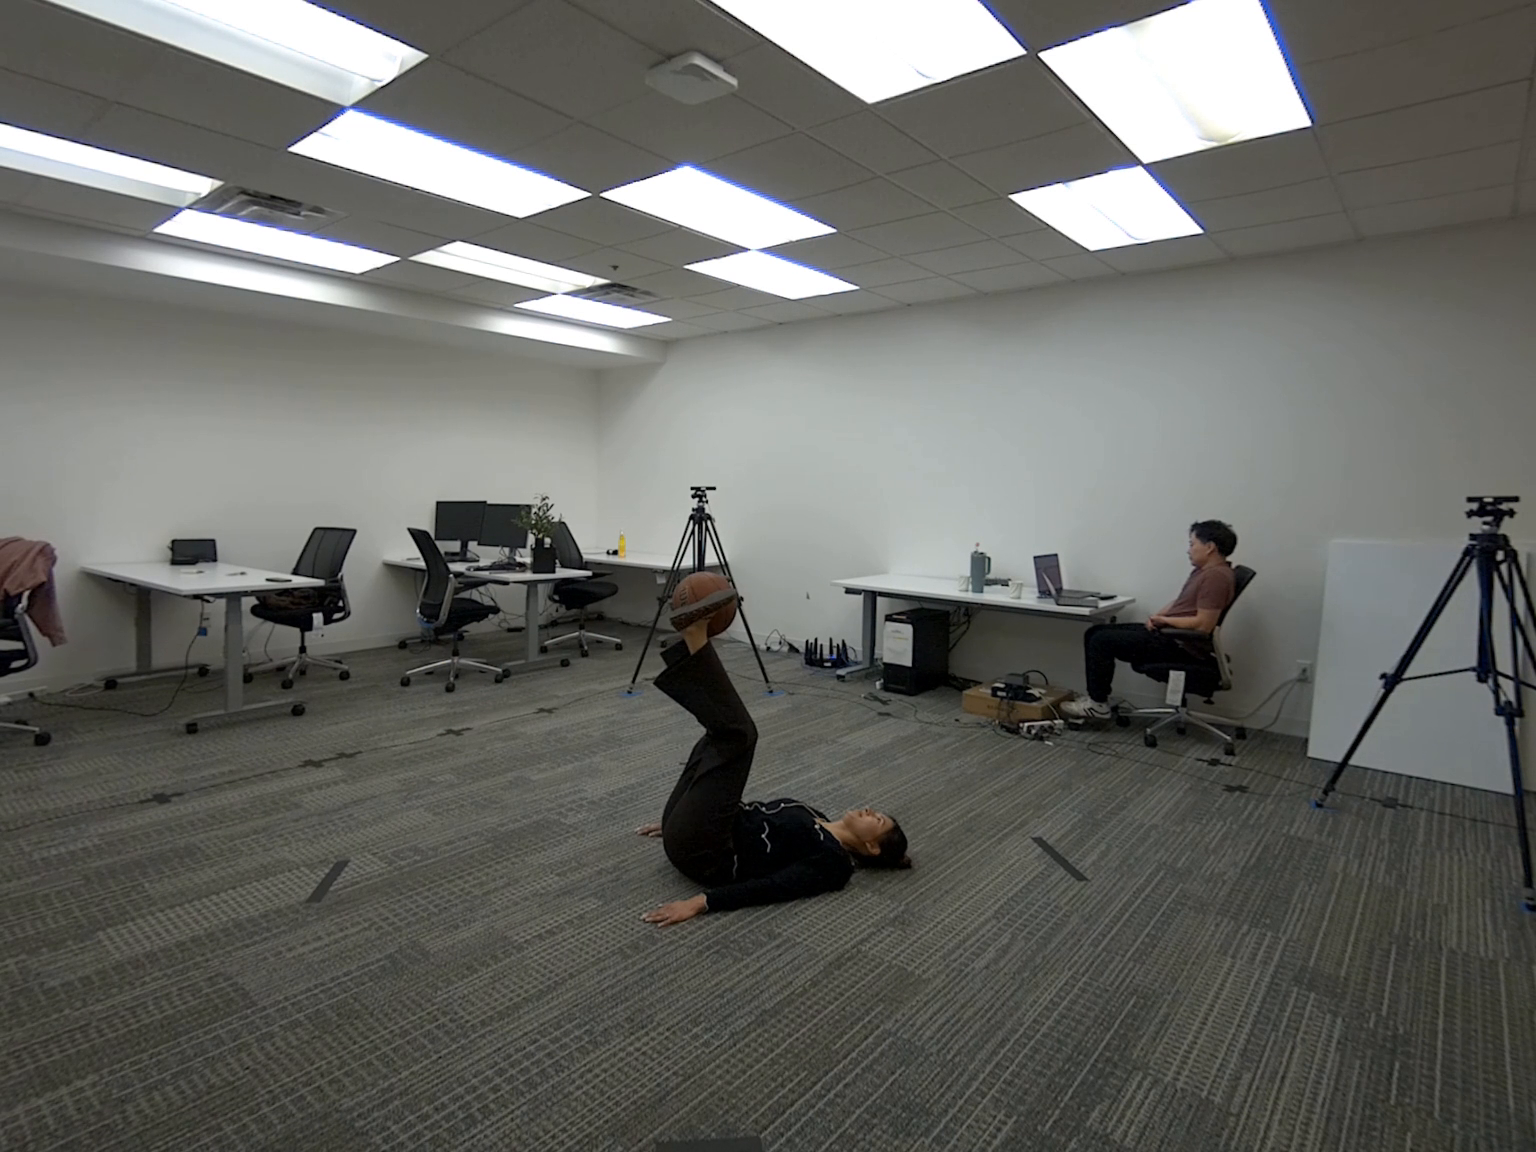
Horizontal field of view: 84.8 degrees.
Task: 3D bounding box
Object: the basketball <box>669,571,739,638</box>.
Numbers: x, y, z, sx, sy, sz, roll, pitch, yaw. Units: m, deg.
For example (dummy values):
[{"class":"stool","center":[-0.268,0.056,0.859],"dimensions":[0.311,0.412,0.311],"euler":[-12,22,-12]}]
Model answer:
[{"class":"basketball","center":[-0.253,0.098,3.040],"dimensions":[0.236,0.234,0.238],"euler":[0,7,-2]}]
